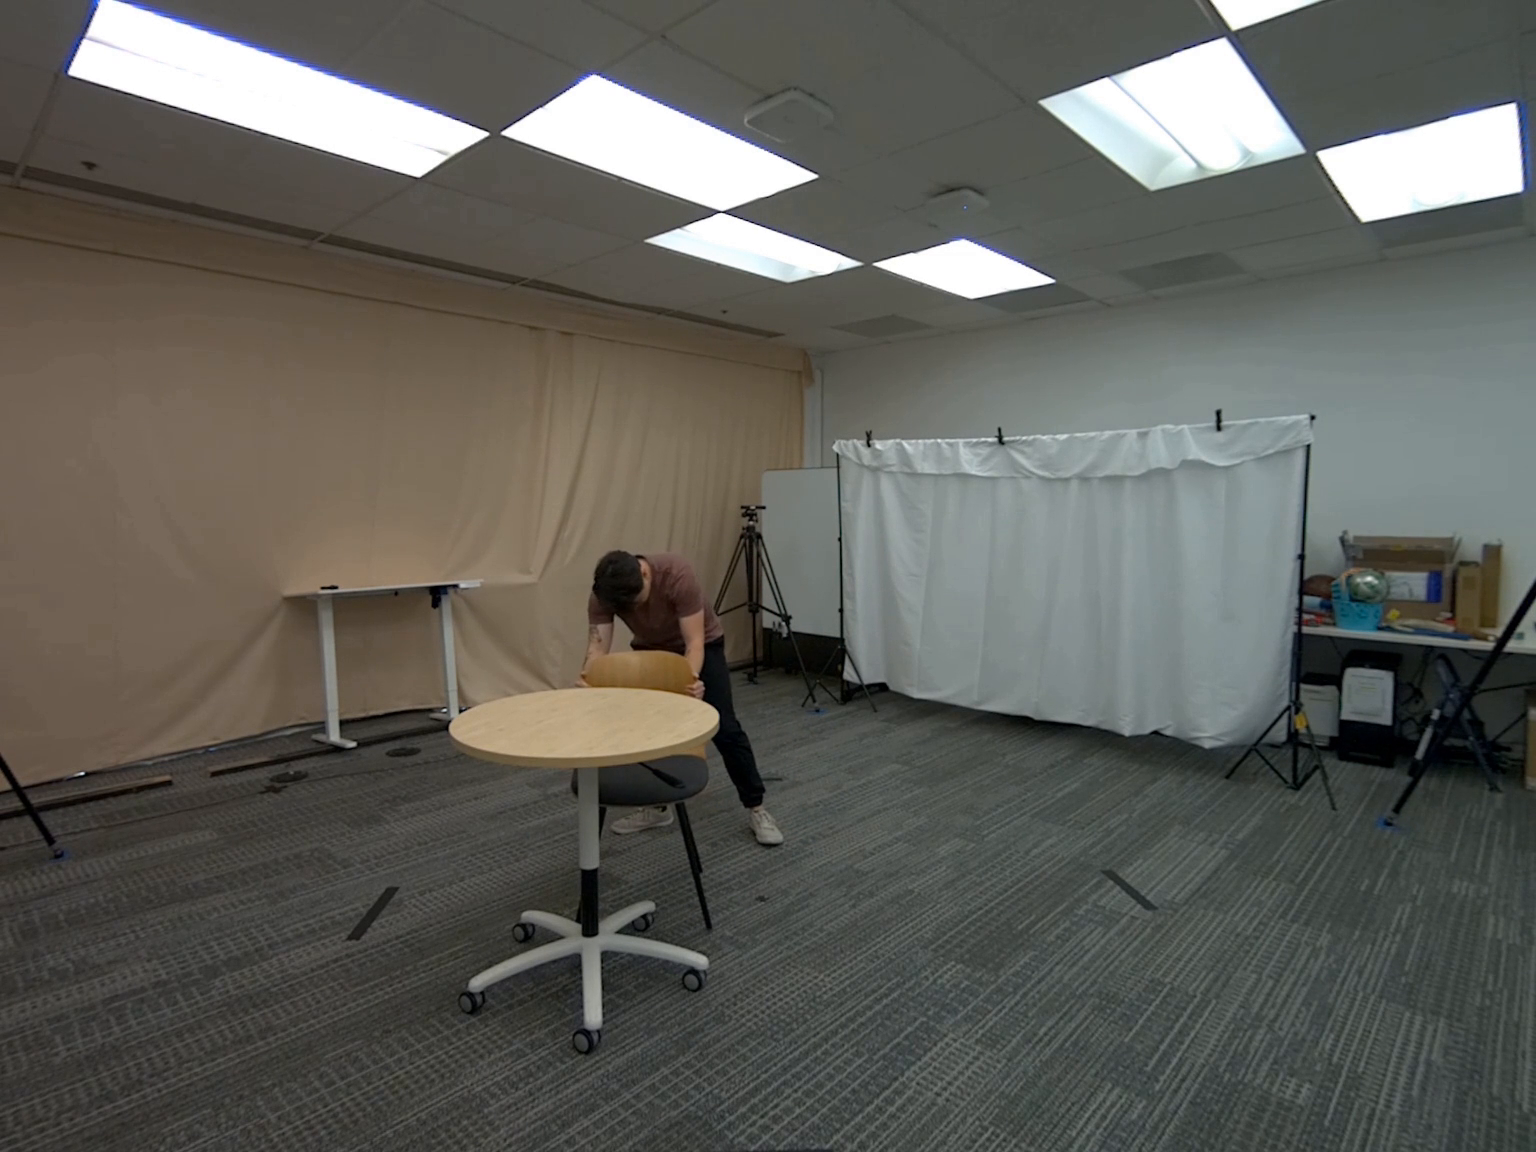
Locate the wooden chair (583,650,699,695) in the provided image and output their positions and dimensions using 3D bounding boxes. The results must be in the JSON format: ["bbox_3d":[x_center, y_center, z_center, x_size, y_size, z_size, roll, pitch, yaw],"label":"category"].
[{"bbox_3d":[-0.432,0.719,2.933,0.475,0.878,0.526,0,-1,-7],"label":"wooden chair"}]
